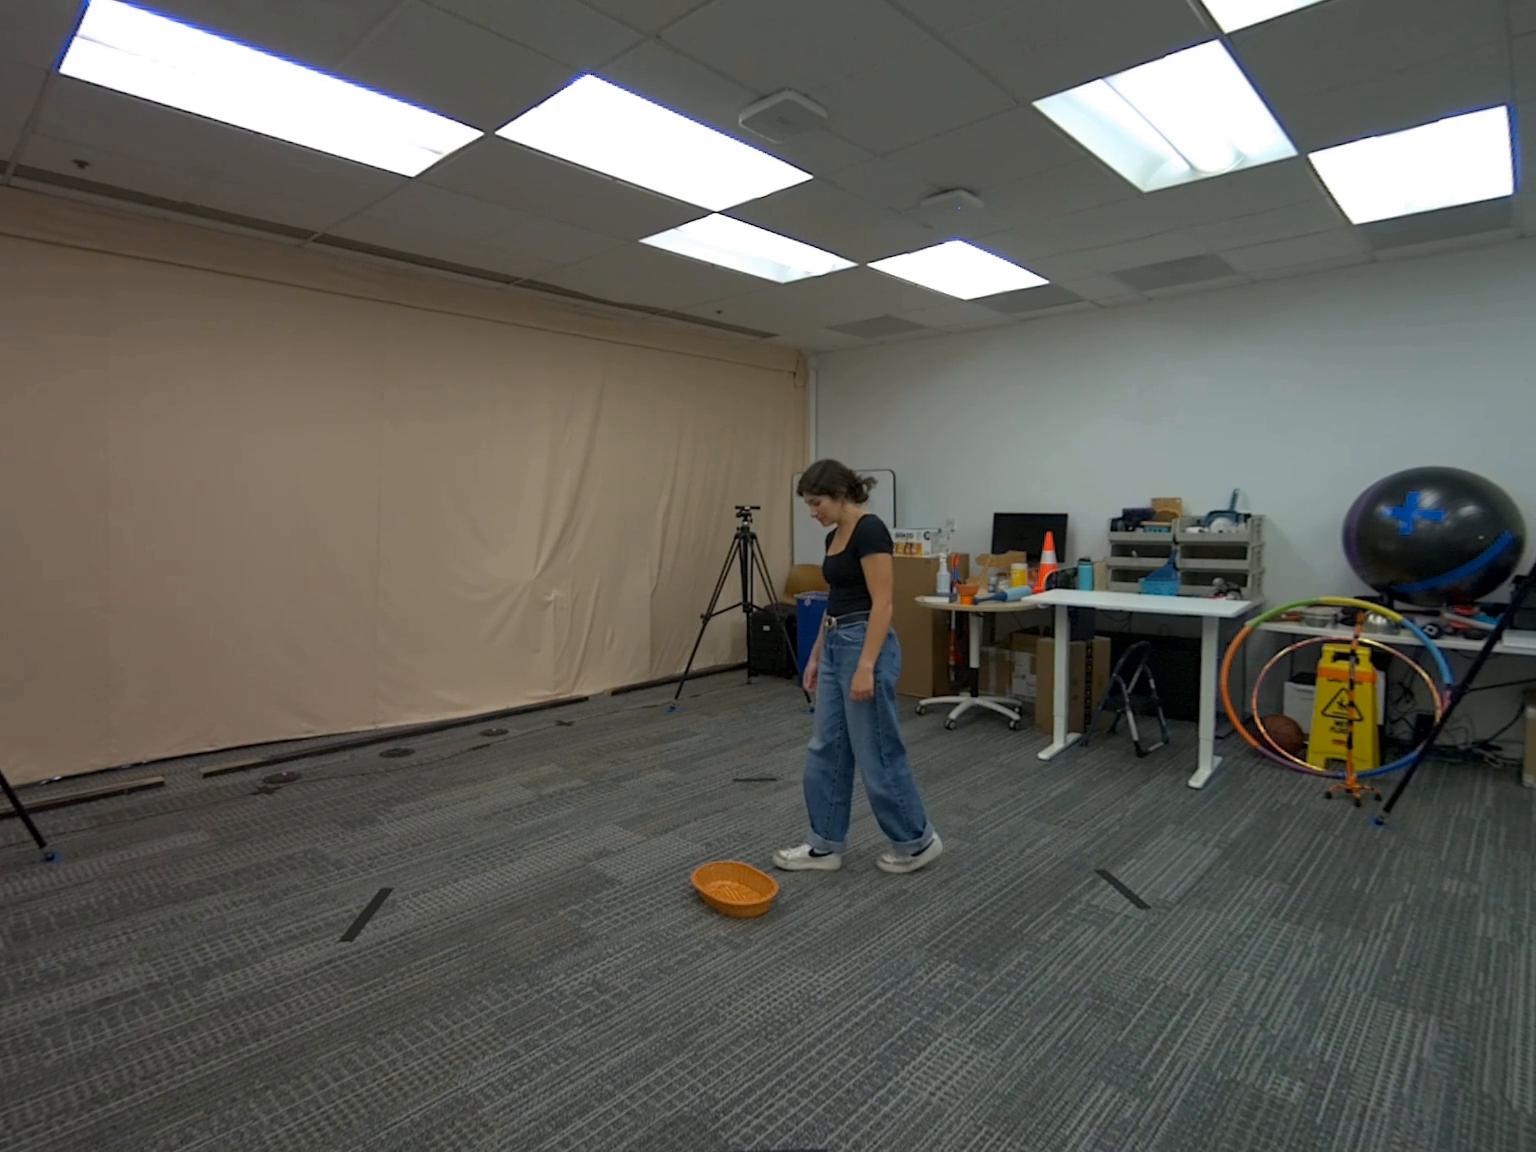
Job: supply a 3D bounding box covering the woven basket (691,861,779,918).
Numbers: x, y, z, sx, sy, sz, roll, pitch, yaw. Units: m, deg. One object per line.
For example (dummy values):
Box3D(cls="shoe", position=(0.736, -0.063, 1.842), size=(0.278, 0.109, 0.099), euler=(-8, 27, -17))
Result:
Box3D(cls="woven basket", position=(-0.121, 1.106, 2.972), size=(0.245, 0.073, 0.361), euler=(-5, 7, -34))
